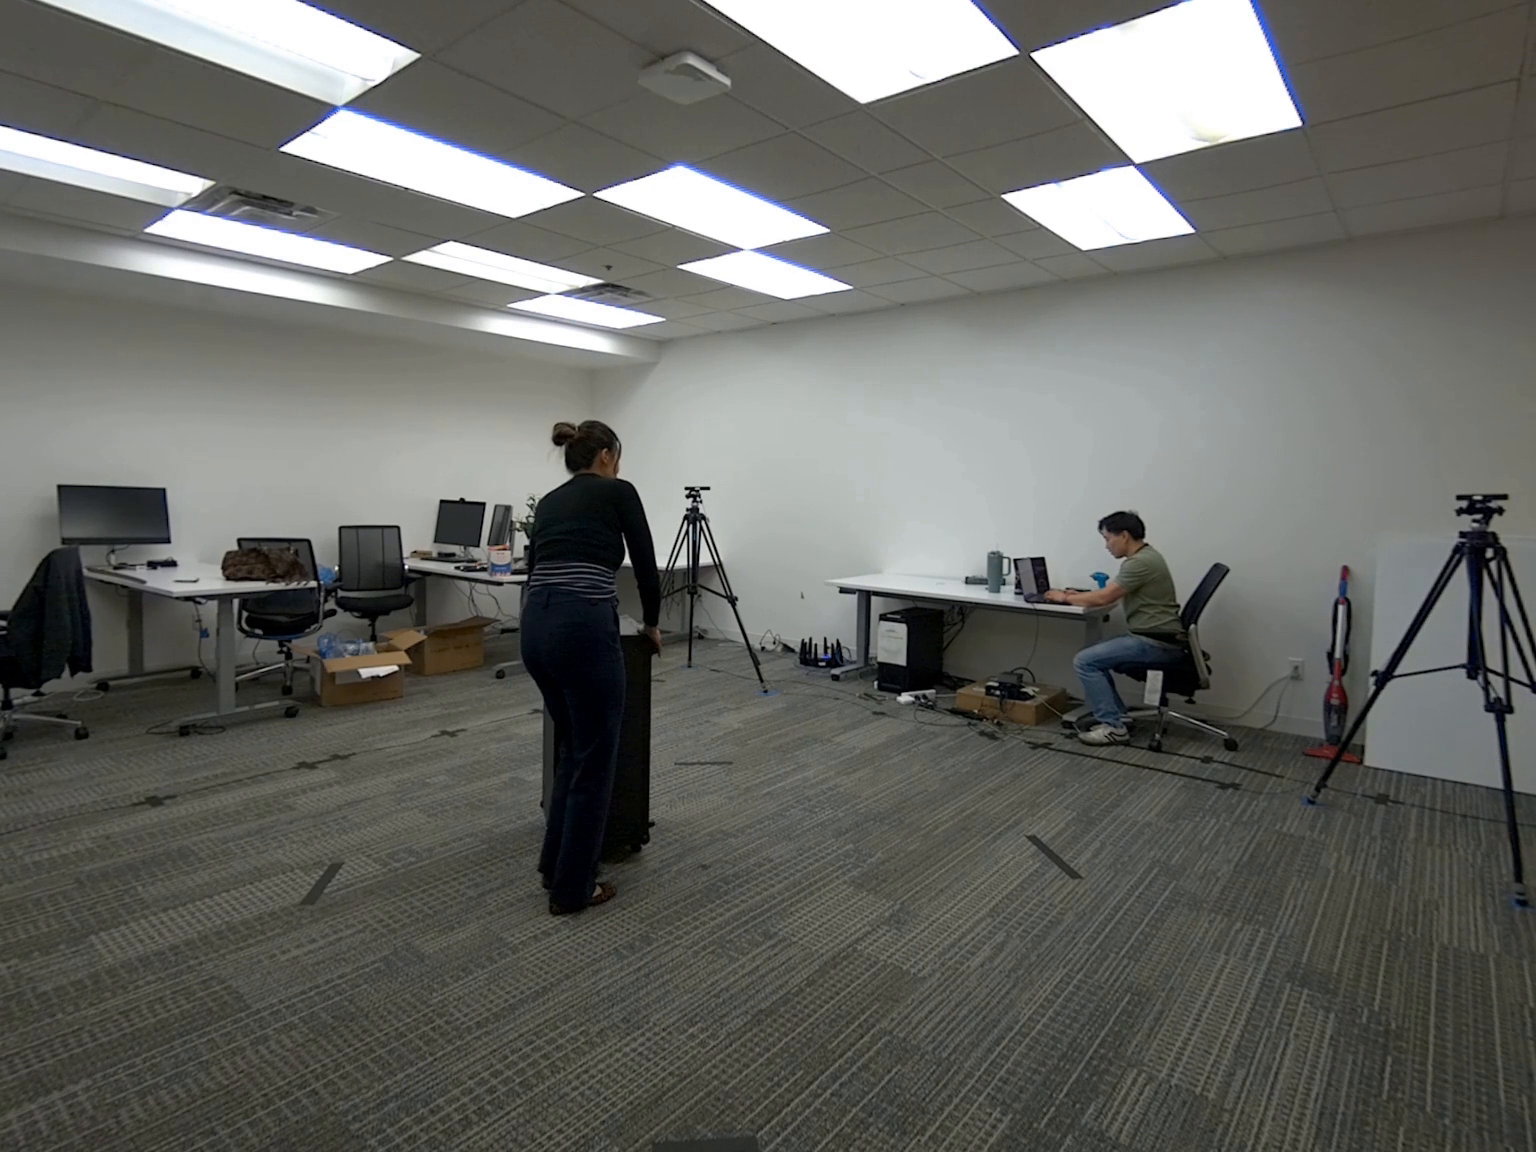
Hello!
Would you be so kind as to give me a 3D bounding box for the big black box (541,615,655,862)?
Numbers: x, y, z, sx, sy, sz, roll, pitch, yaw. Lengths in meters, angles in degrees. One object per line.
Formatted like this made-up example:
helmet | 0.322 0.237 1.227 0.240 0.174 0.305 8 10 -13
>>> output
big black box | -0.682 0.614 3.313 0.389 0.860 0.532 1 3 -19
